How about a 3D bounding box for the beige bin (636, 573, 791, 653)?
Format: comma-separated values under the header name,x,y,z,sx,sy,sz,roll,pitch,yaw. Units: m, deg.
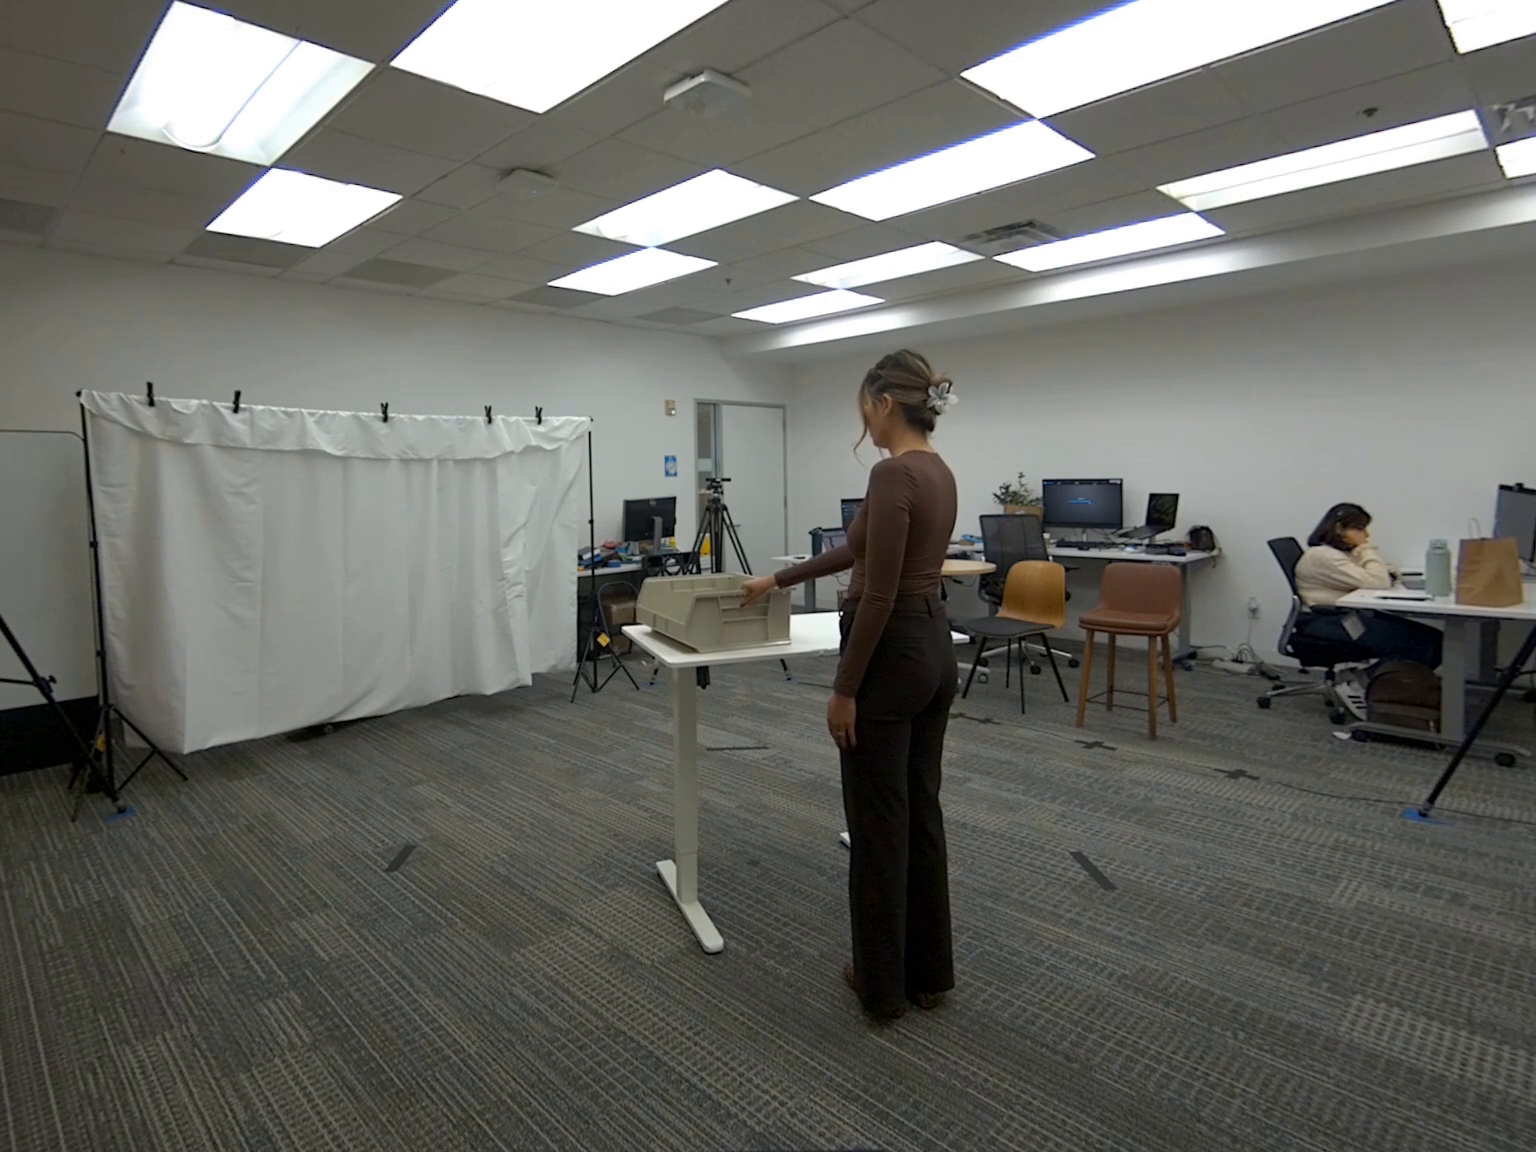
name,x,y,z,sx,sy,sz,roll,pitch,yaw
beige bin,-0.174,0.111,2.743,0.369,0.188,0.433,-3,6,-27
